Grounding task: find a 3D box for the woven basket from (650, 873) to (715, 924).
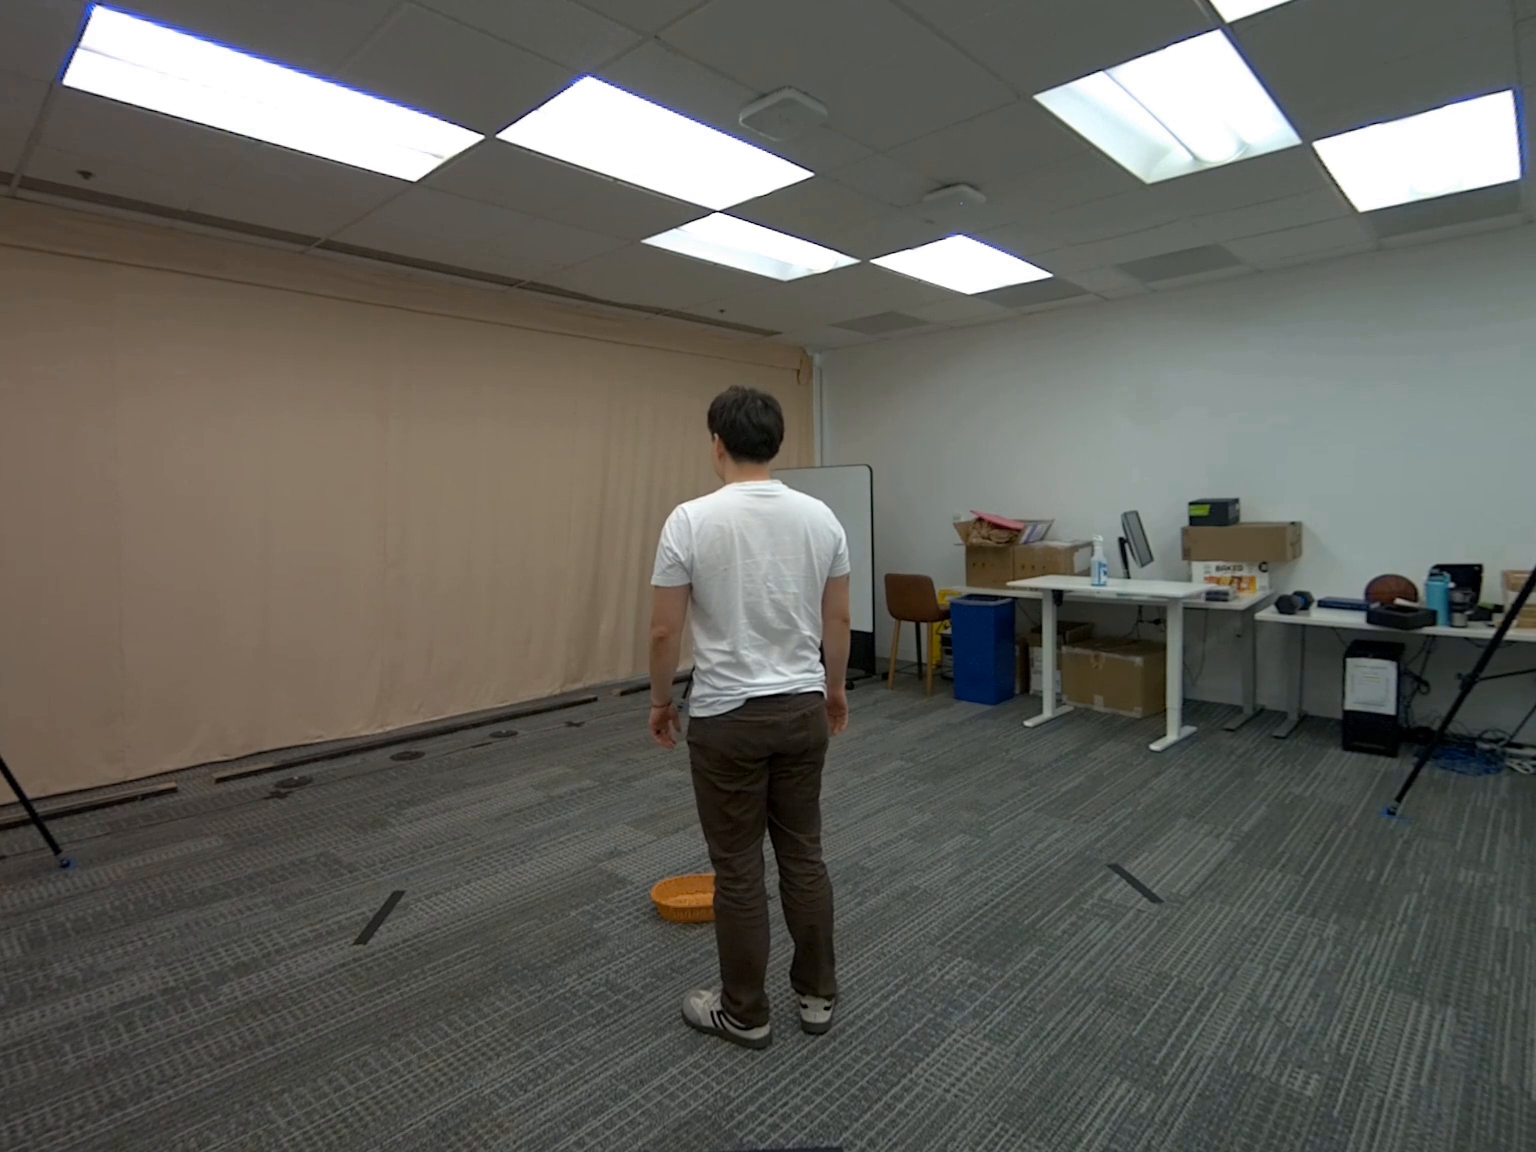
[{"bbox_3d":[-0.228,1.114,2.901,0.349,0.073,0.254,-1,4,-5],"label":"woven basket"}]
